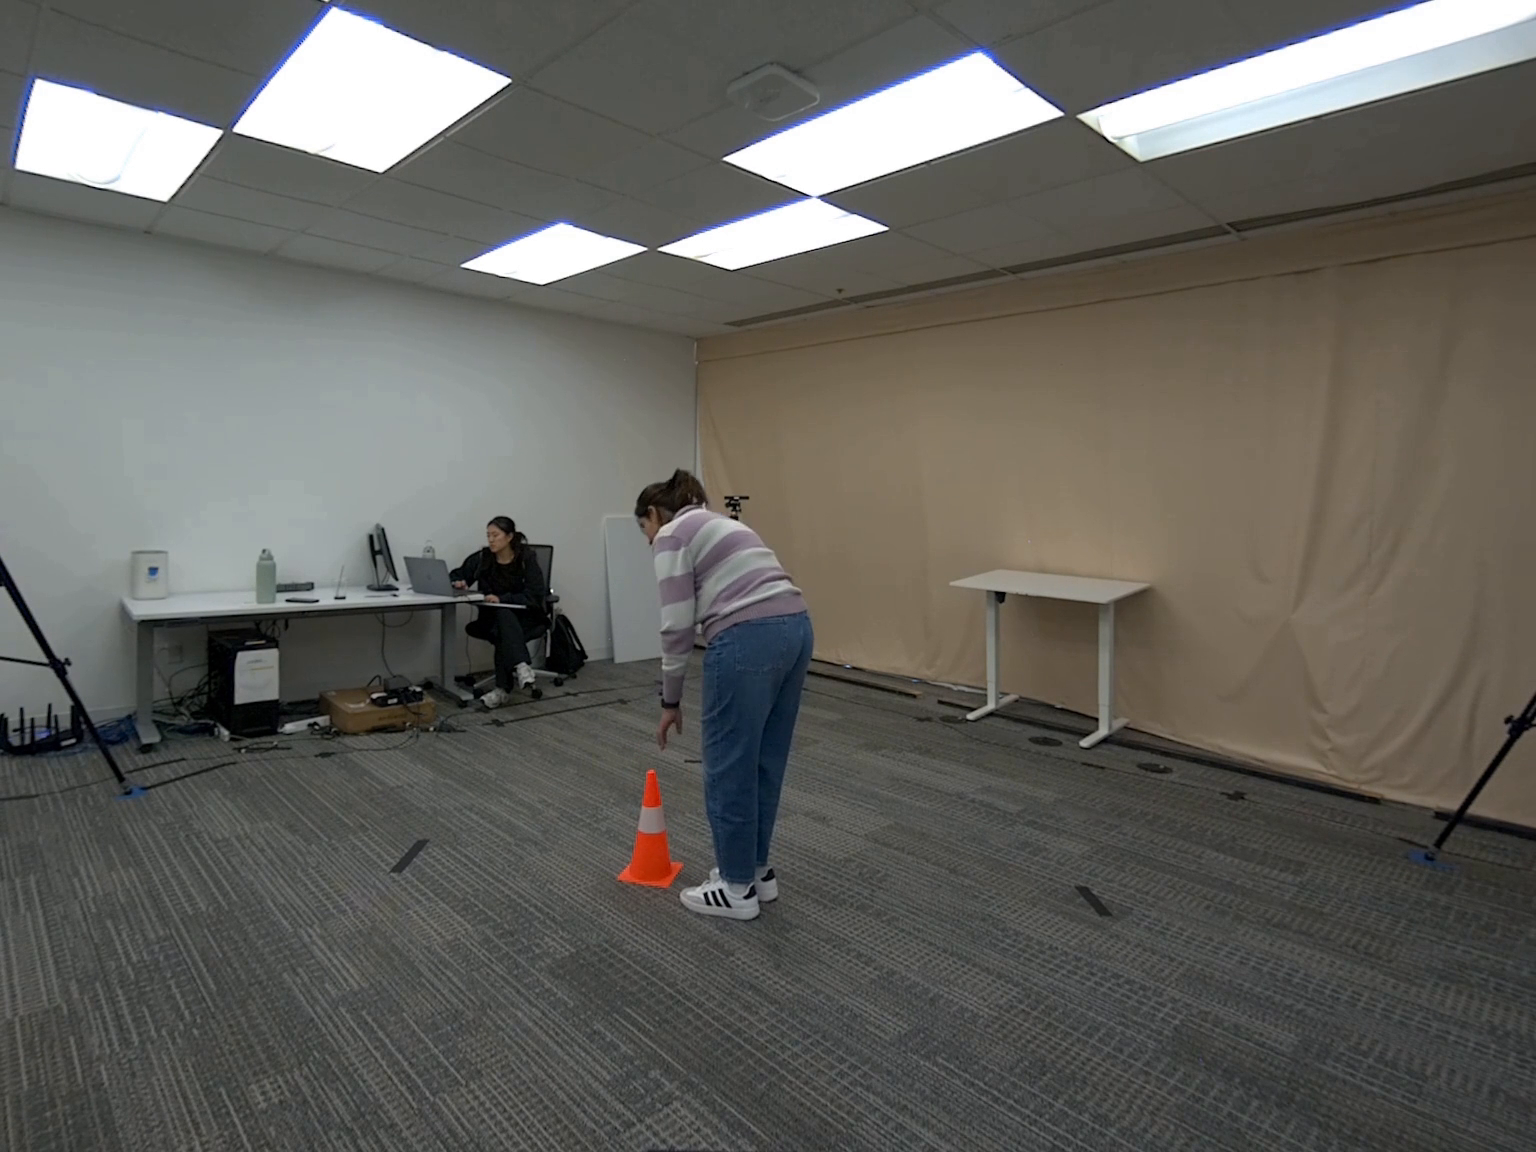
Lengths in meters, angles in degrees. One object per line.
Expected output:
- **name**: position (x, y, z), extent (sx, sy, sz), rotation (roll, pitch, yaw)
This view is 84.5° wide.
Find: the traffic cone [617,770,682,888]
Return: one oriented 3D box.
- **traffic cone**: position (-0.437, 0.912, 3.099), extent (0.205, 0.382, 0.203), rotation (2, 5, 13)
